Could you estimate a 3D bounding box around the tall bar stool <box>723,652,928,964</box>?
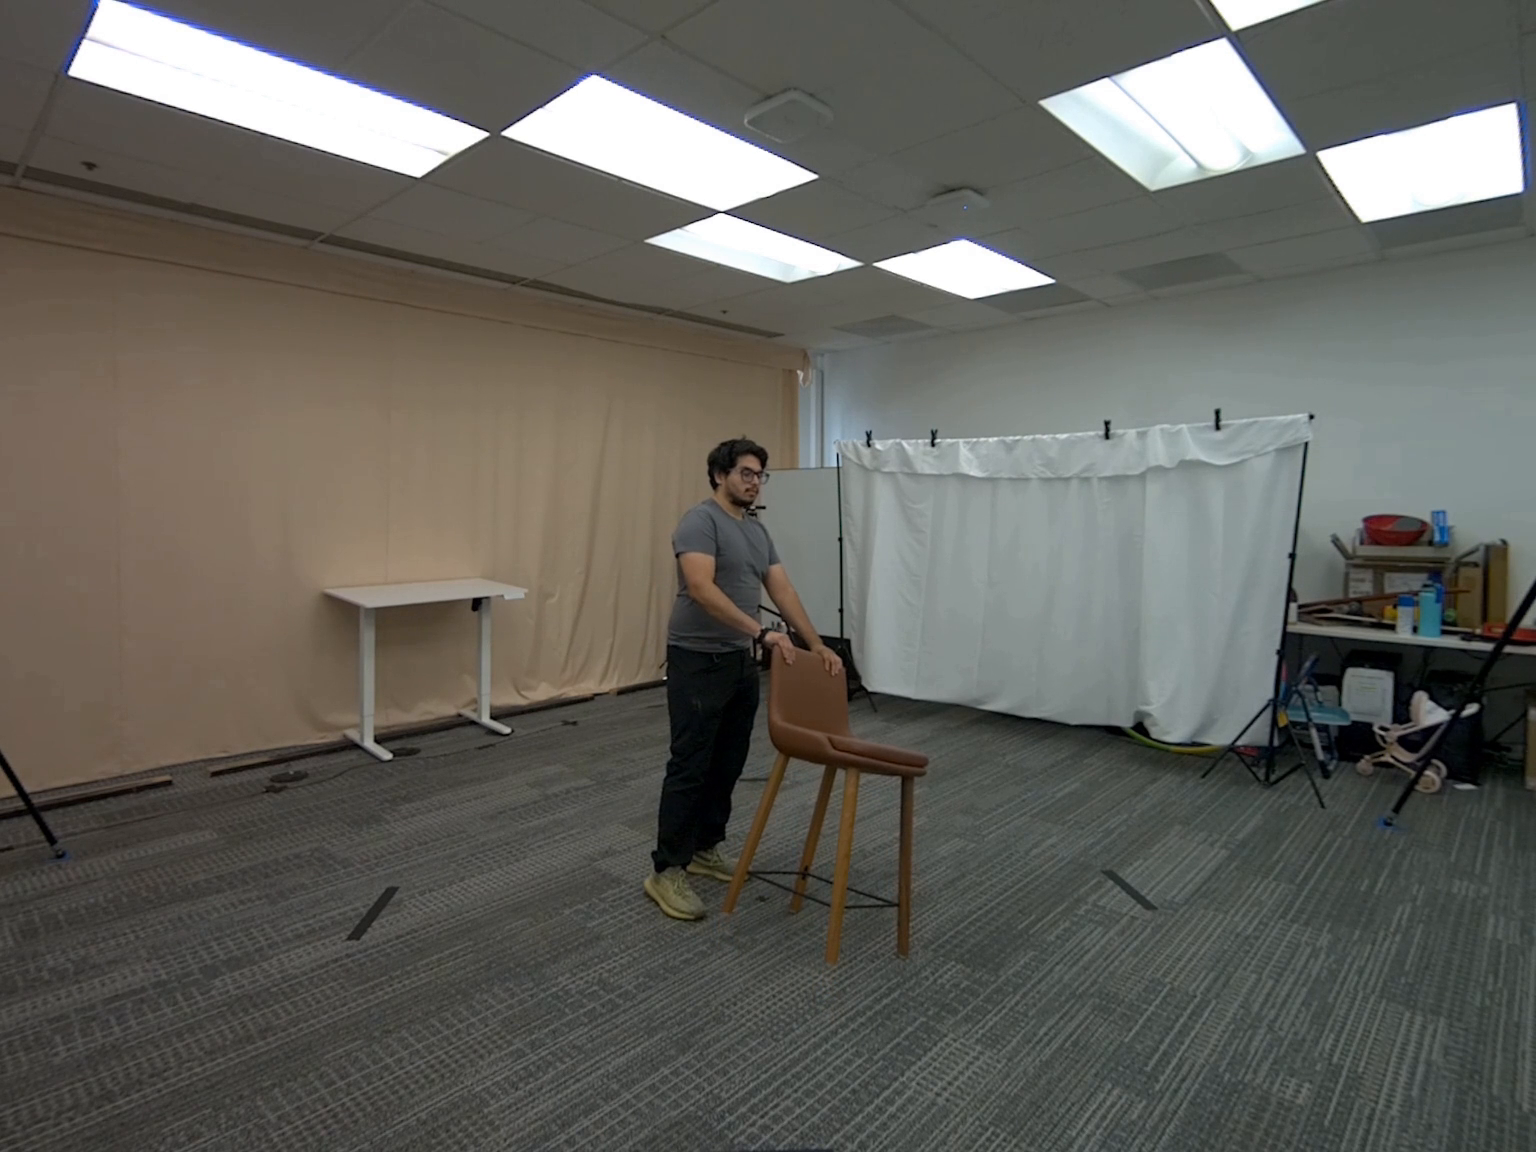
[{"bbox_3d":[0.220,0.696,2.703,0.482,0.894,0.440,-1,-16,43],"label":"tall bar stool"}]
